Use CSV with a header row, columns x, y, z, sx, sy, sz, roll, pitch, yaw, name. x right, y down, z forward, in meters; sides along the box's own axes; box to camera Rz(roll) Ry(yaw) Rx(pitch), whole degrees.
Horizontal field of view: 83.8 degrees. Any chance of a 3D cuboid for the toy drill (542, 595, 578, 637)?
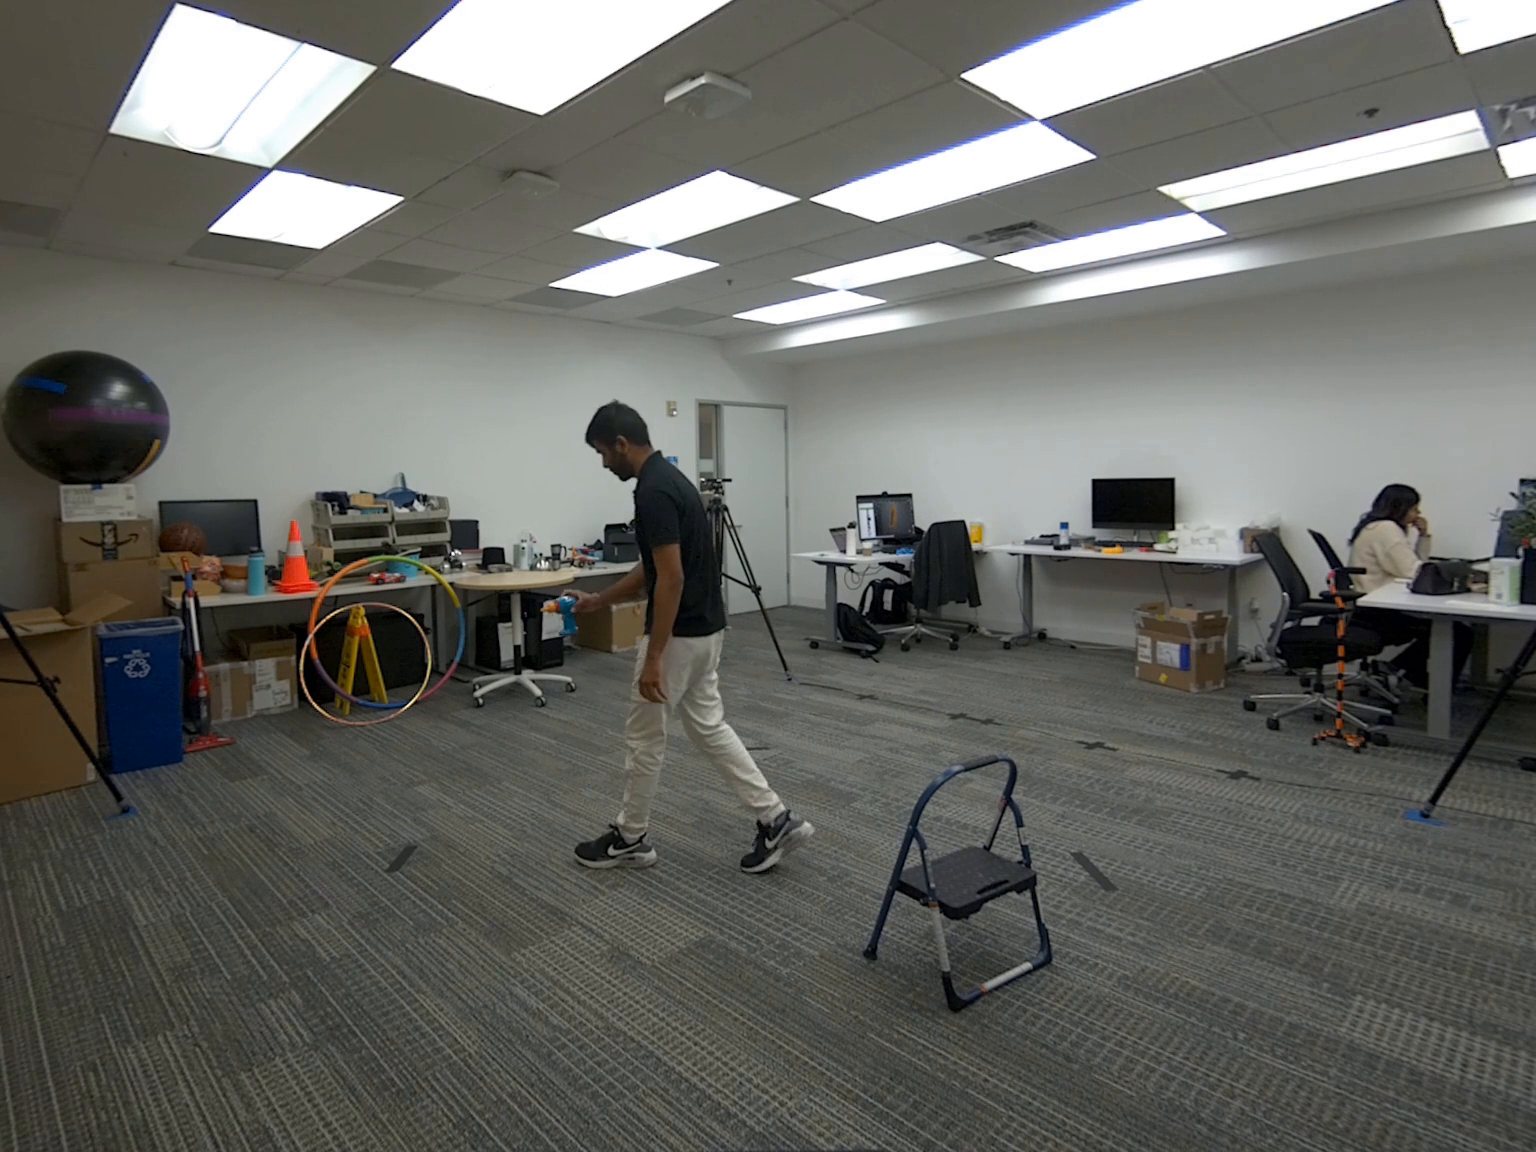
x,y,z,sx,sy,sz,roll,pitch,yaw,name
-0.741,0.145,3.131,0.062,0.146,0.166,-12,0,33,toy drill
